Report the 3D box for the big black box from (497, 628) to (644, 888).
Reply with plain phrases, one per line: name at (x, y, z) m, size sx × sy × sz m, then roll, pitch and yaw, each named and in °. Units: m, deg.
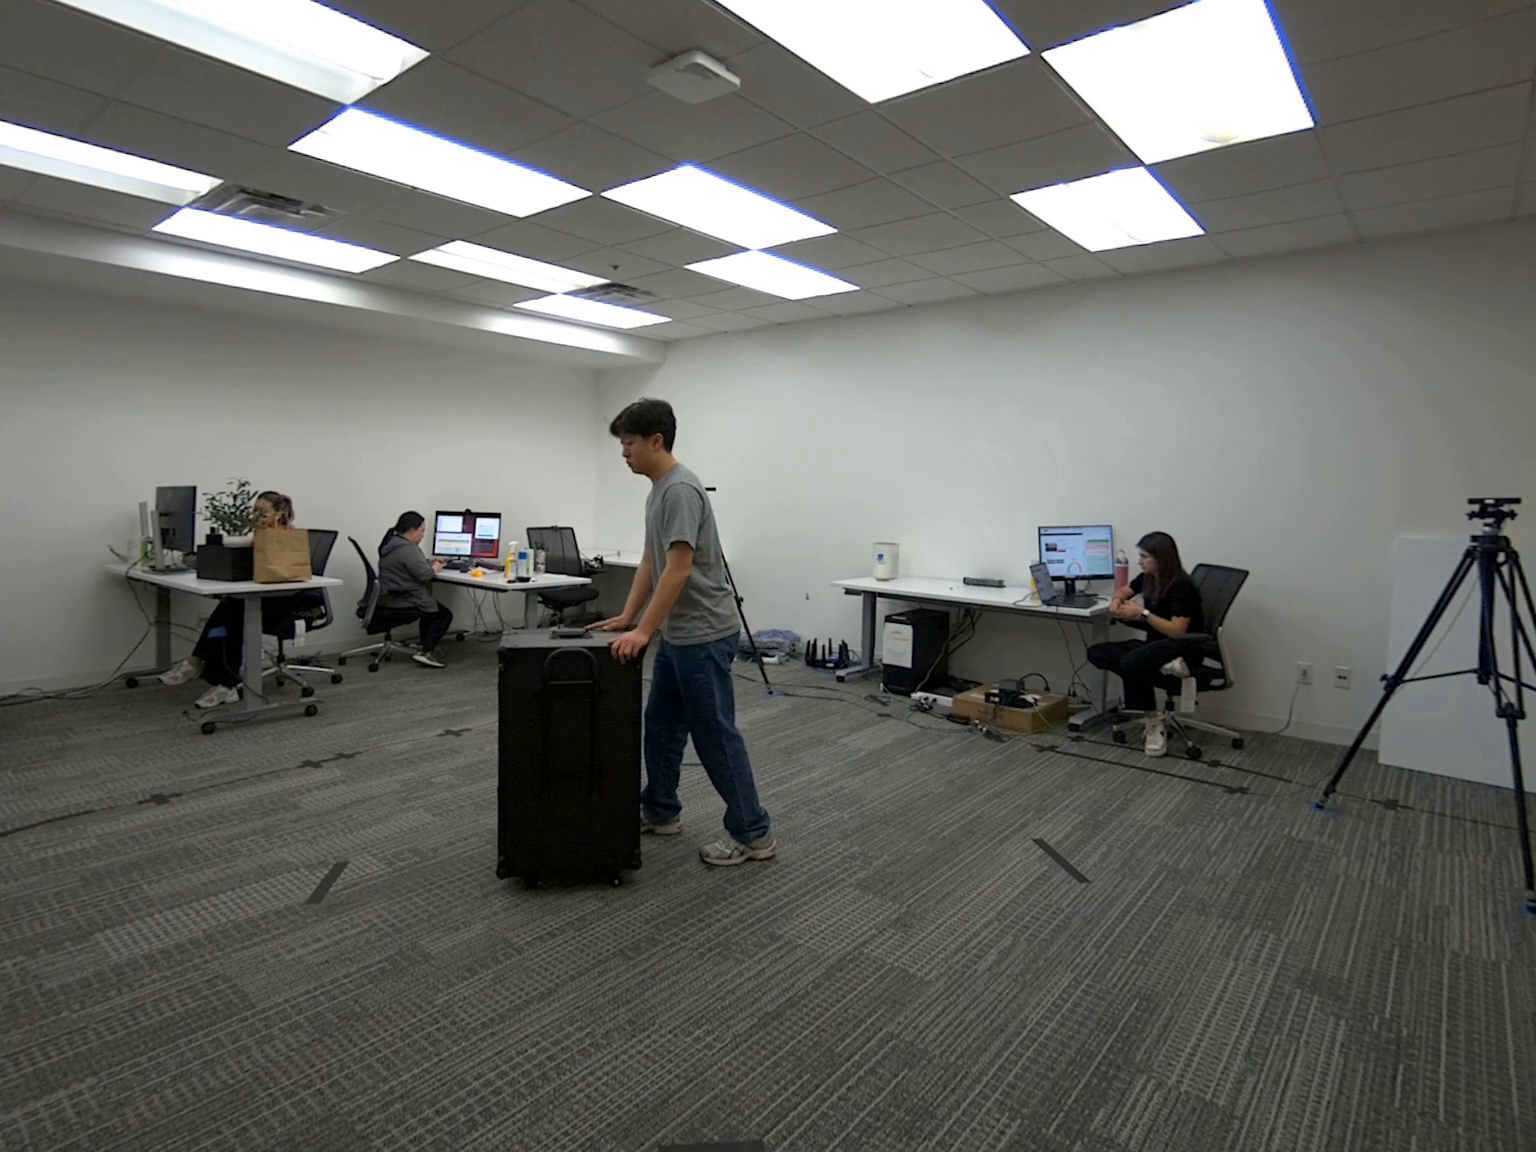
big black box at (-0.707, 0.644, 3.028) m, size 0.515 × 0.858 × 0.403 m, roll 1°, pitch 4°, yaw -12°
